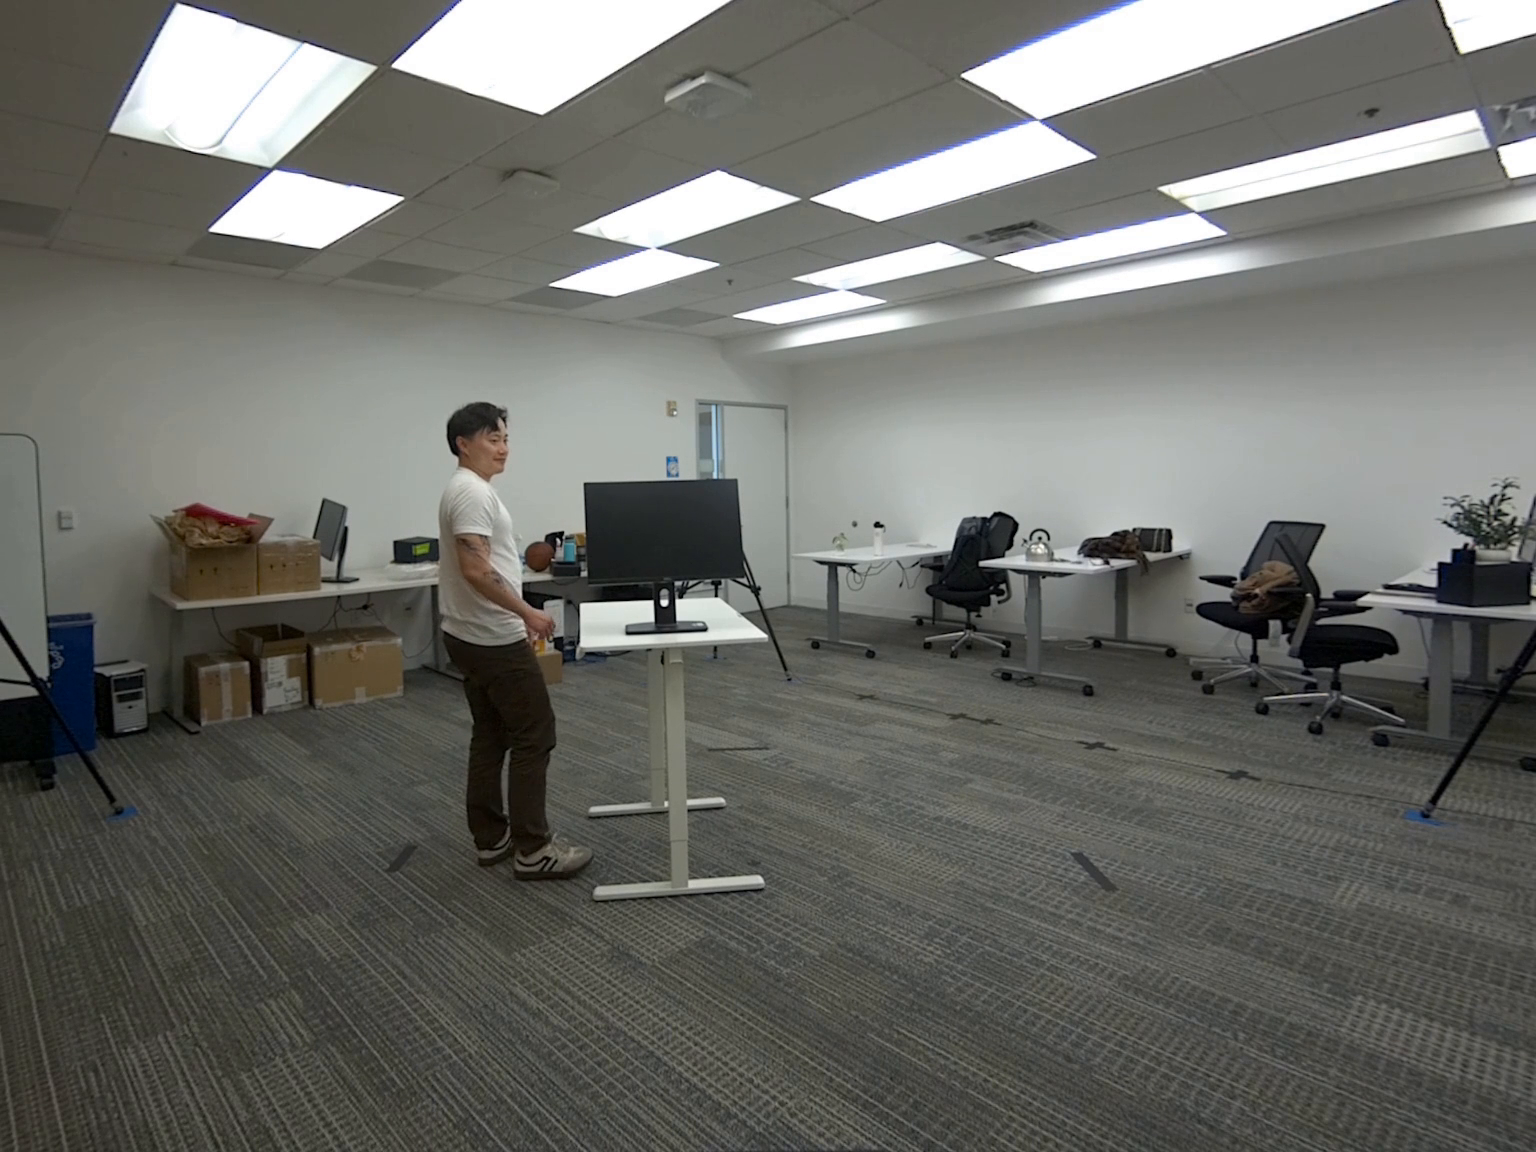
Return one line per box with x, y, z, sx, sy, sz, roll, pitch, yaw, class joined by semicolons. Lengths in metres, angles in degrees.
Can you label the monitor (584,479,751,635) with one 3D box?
-0.359;-0.070;2.952;0.533;0.521;0.189;-2;3;-11;monitor
